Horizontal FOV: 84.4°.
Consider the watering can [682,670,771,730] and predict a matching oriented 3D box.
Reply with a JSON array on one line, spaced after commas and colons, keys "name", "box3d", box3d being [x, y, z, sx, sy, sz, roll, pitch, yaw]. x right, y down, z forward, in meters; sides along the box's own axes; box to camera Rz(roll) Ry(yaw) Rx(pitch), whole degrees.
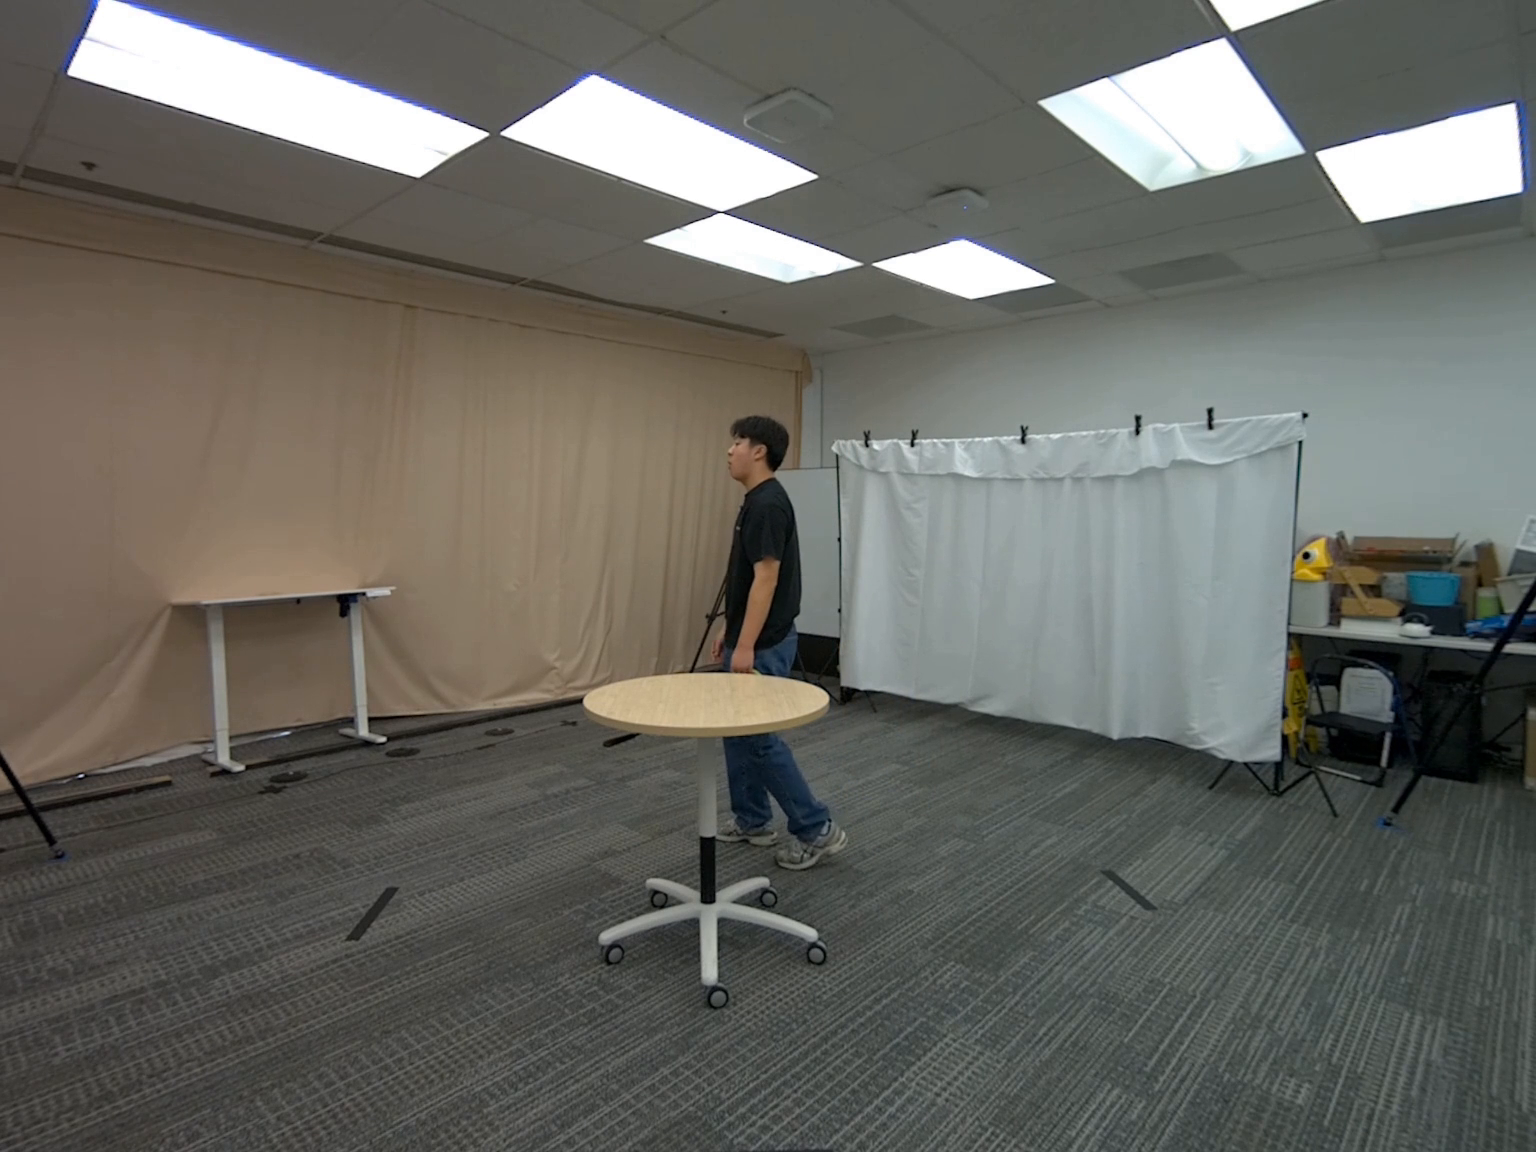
[{"name": "watering can", "box3d": [-0.157, 0.446, 3.162, 0.283, 0.177, 0.096, -16, -3, 19]}]
